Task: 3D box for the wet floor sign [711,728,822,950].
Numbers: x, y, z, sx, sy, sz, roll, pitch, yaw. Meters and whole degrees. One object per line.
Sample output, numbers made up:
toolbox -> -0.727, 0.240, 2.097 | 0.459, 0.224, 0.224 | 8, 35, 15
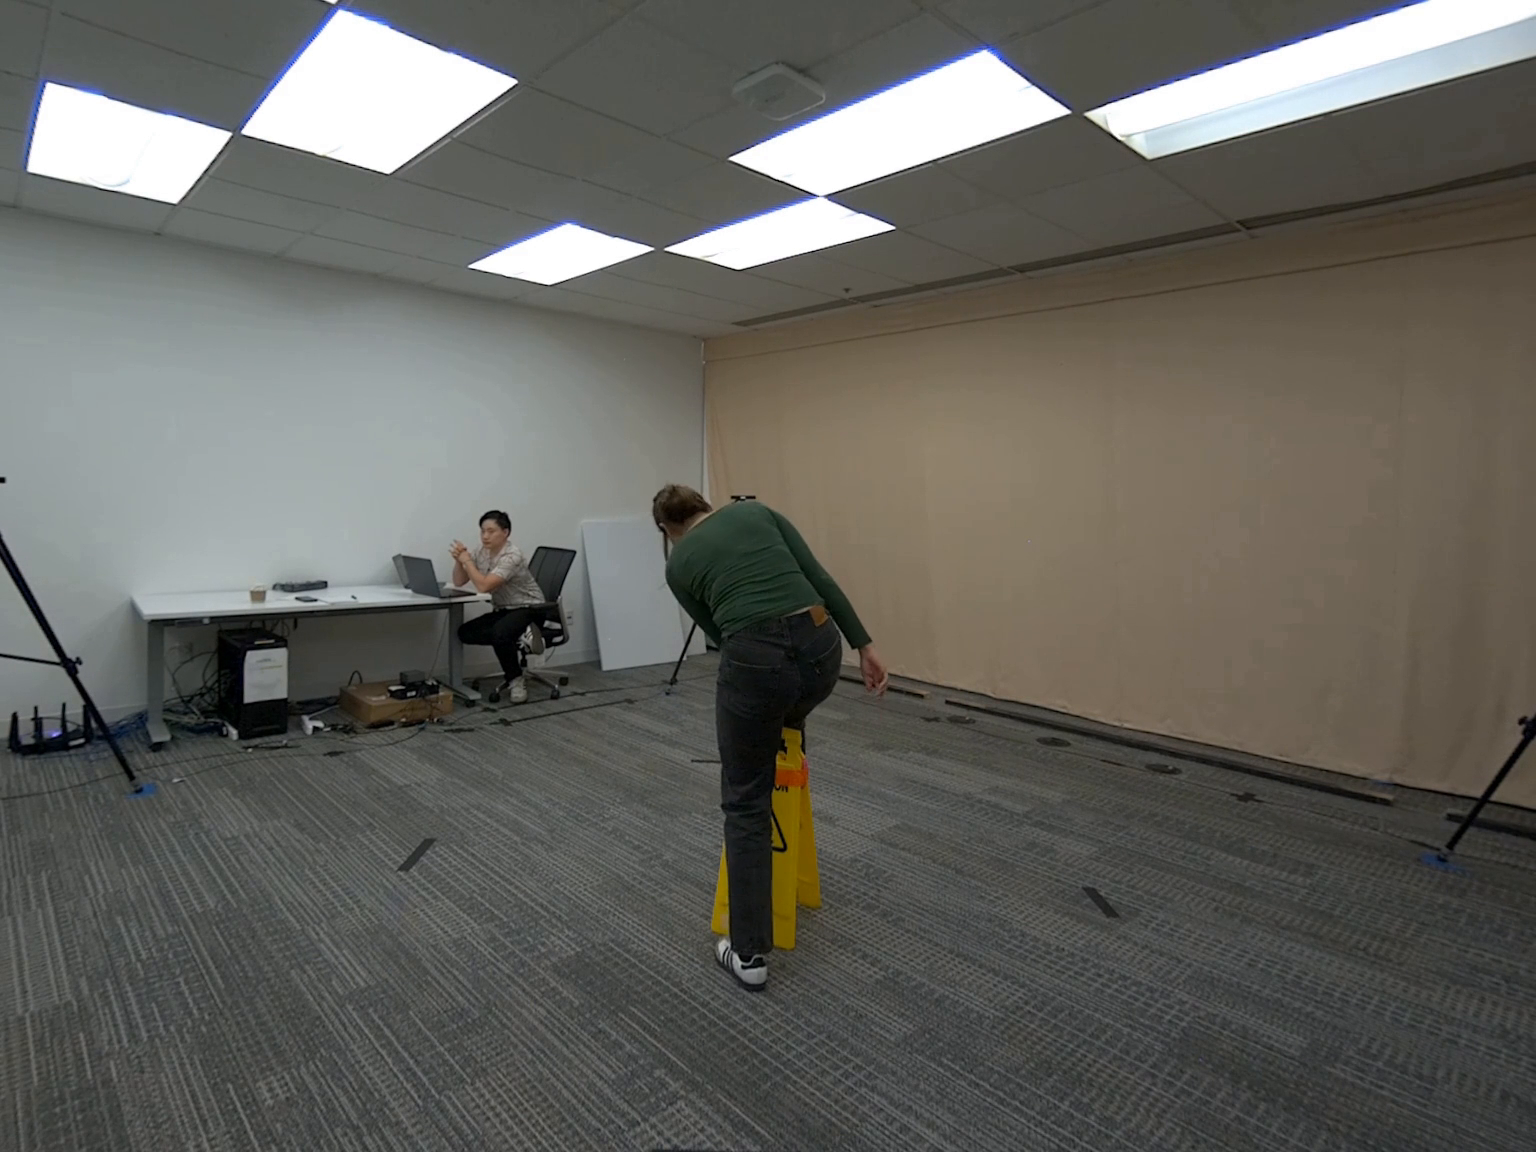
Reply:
wet floor sign -> 0.003, 0.812, 2.766 | 0.287, 0.644, 0.285 | 3, 3, 20
